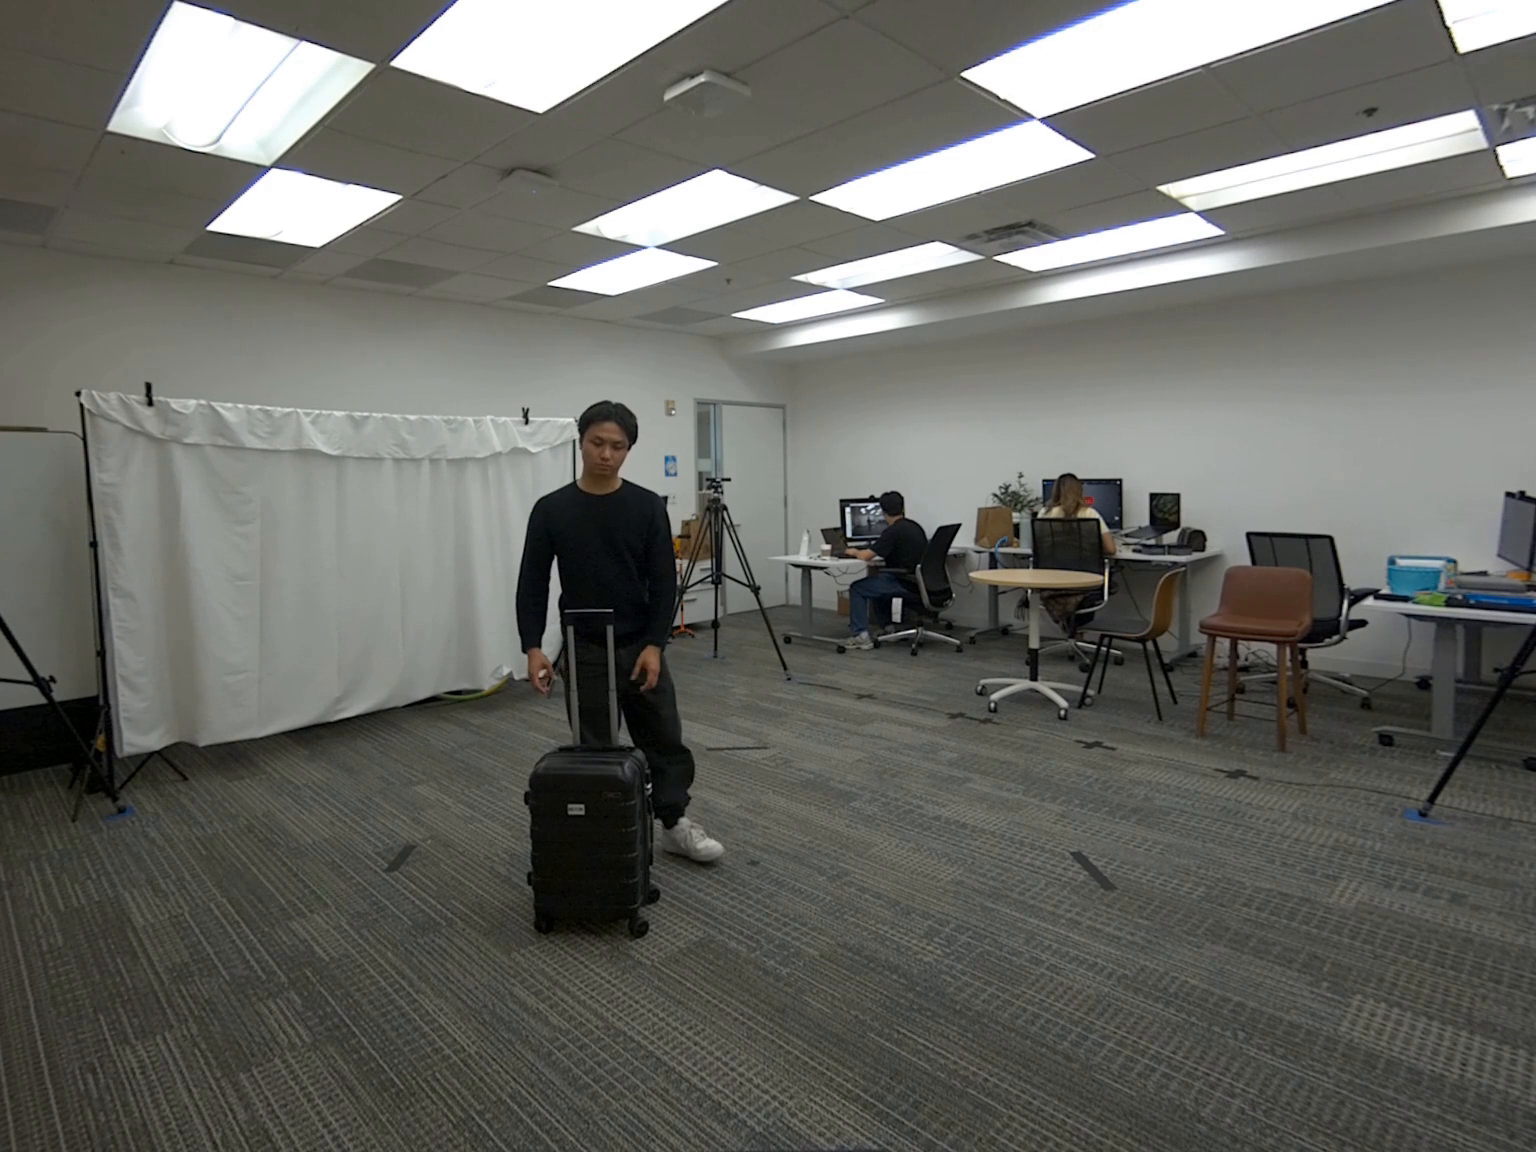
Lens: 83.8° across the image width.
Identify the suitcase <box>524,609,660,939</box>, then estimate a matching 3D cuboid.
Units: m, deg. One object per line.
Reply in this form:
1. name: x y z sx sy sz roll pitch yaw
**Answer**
1. suitcase: -0.570 0.625 2.697 0.386 0.973 0.257 -2 6 4
